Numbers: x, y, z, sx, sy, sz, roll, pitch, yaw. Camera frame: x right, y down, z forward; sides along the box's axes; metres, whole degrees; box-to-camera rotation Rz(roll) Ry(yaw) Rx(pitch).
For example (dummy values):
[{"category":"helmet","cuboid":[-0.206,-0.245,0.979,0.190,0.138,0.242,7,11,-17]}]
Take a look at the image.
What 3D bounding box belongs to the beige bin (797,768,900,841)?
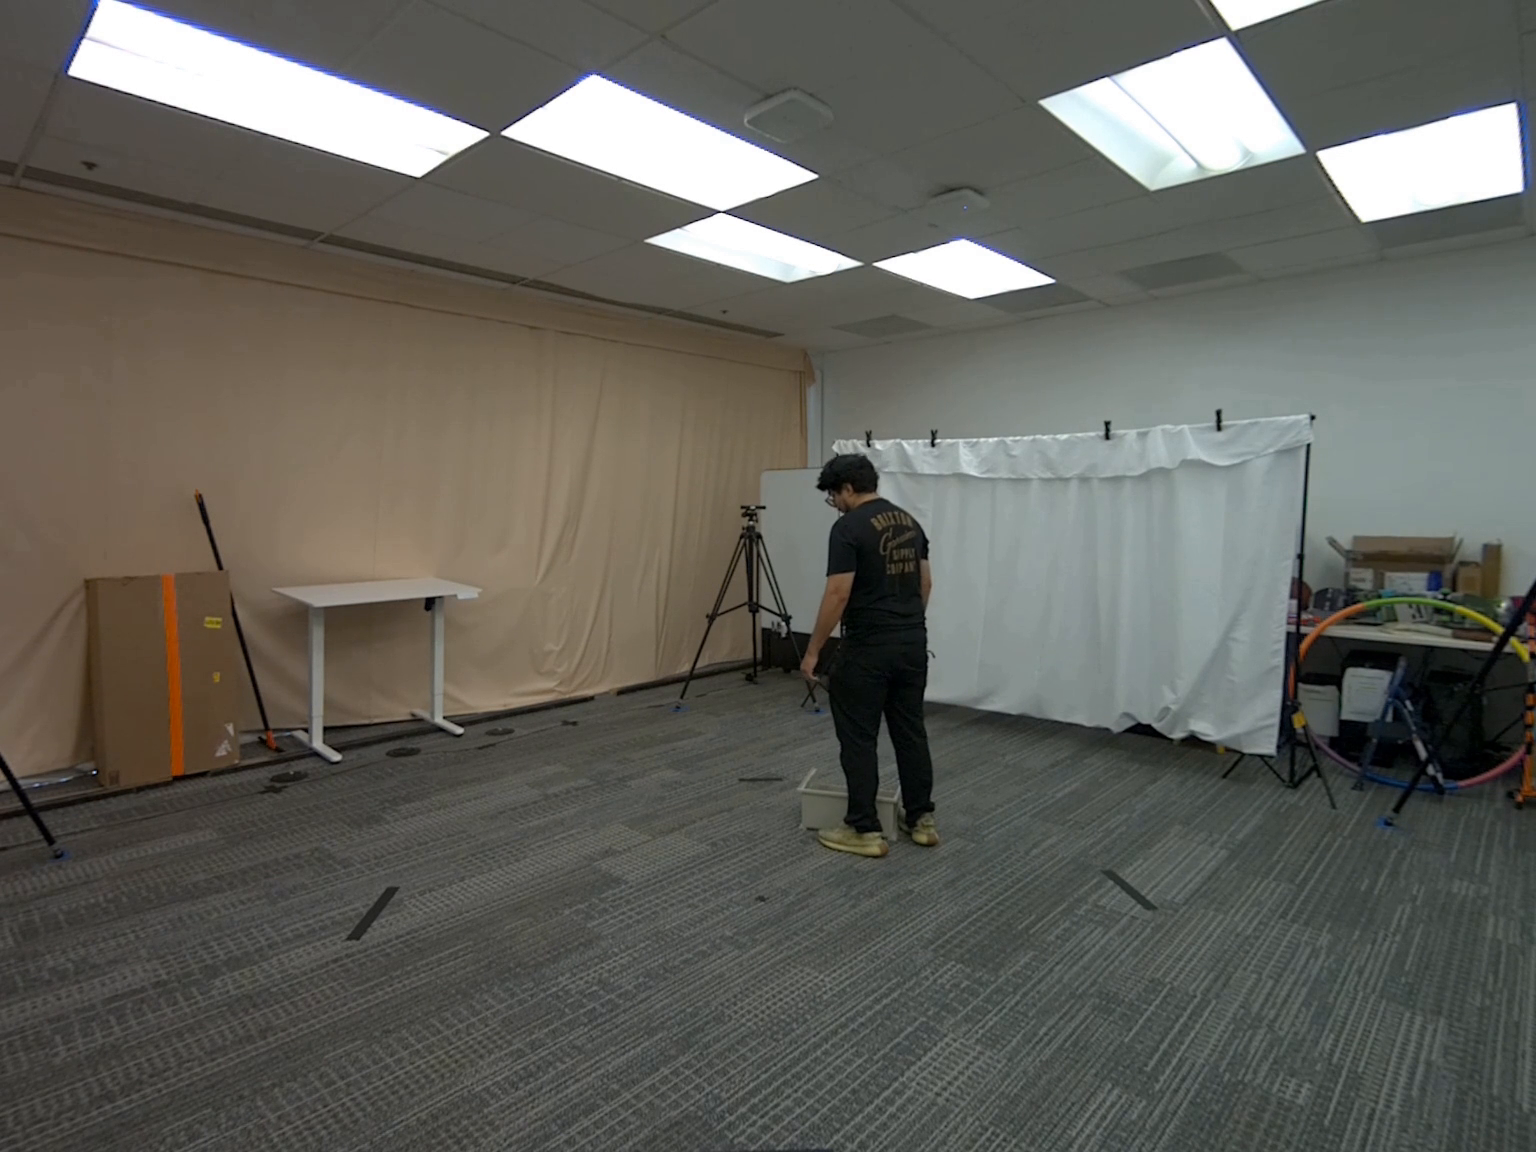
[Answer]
[{"category":"beige bin","cuboid":[0.374,0.990,3.720,0.430,0.188,0.372,2,6,16]}]
